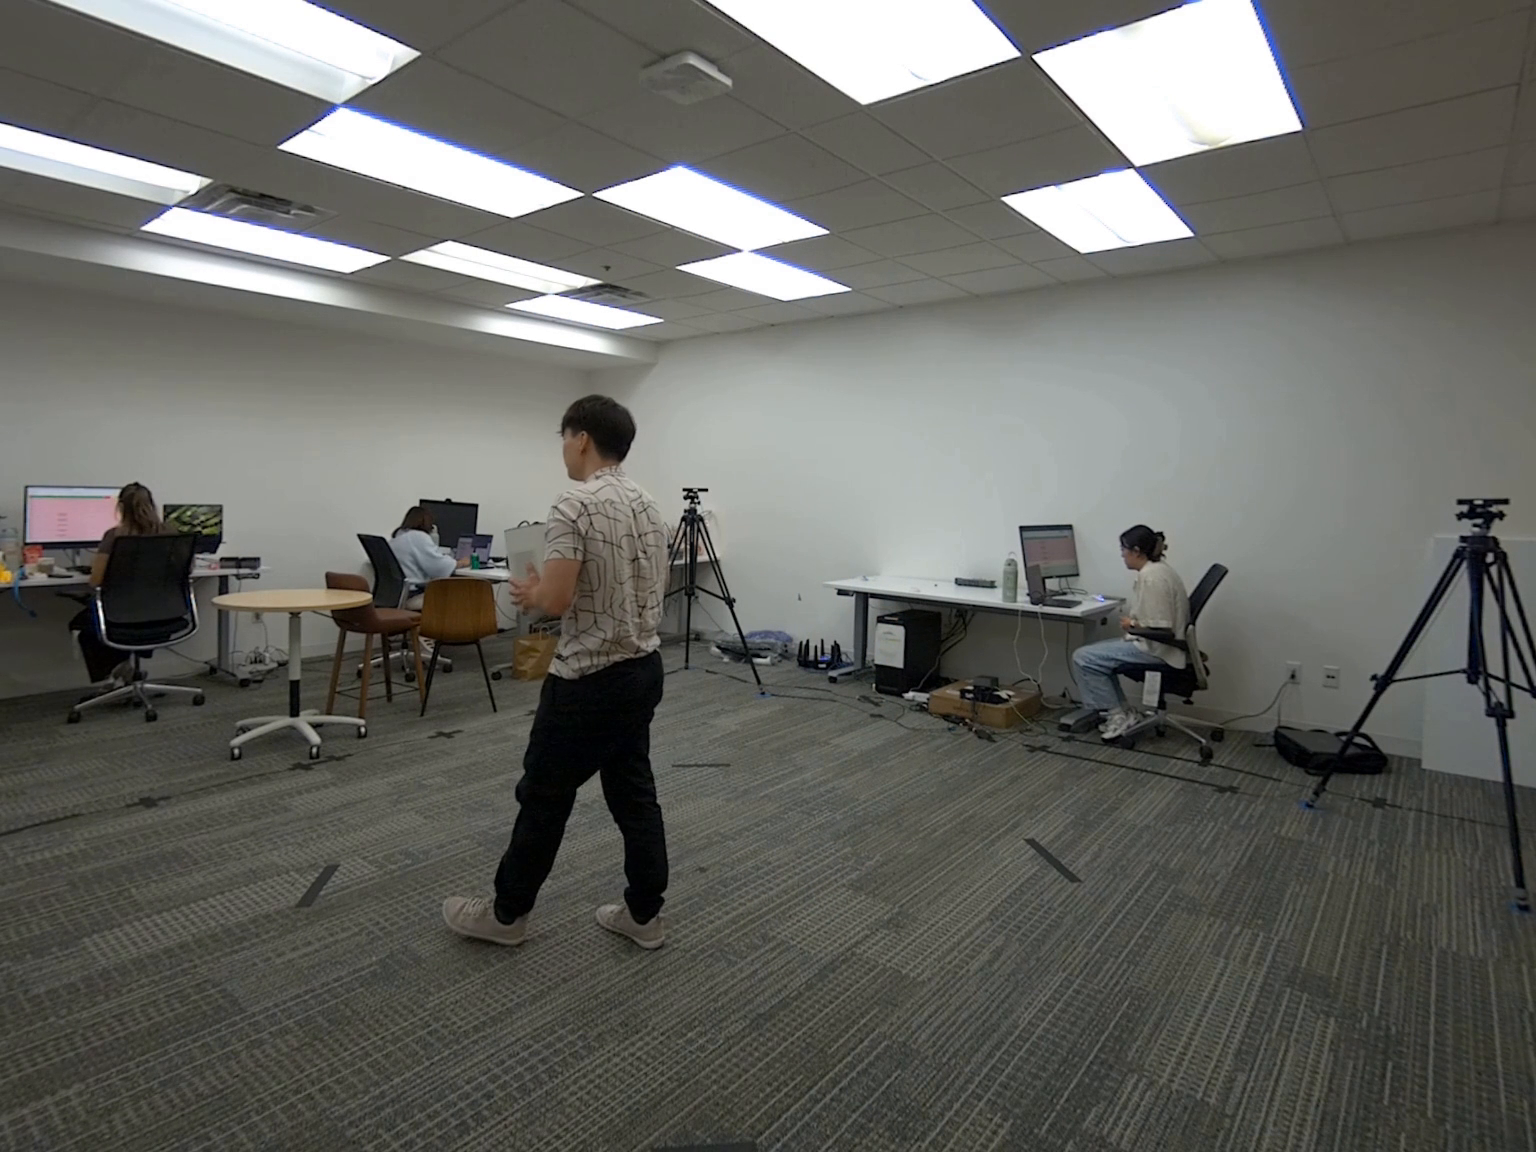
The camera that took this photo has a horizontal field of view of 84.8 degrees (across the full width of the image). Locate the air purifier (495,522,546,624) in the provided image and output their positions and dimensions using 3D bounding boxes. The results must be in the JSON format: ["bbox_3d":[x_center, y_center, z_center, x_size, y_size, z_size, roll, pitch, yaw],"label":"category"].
[{"bbox_3d":[-0.728,-0.023,2.670,0.172,0.268,0.169,-11,-8,5],"label":"air purifier"}]
